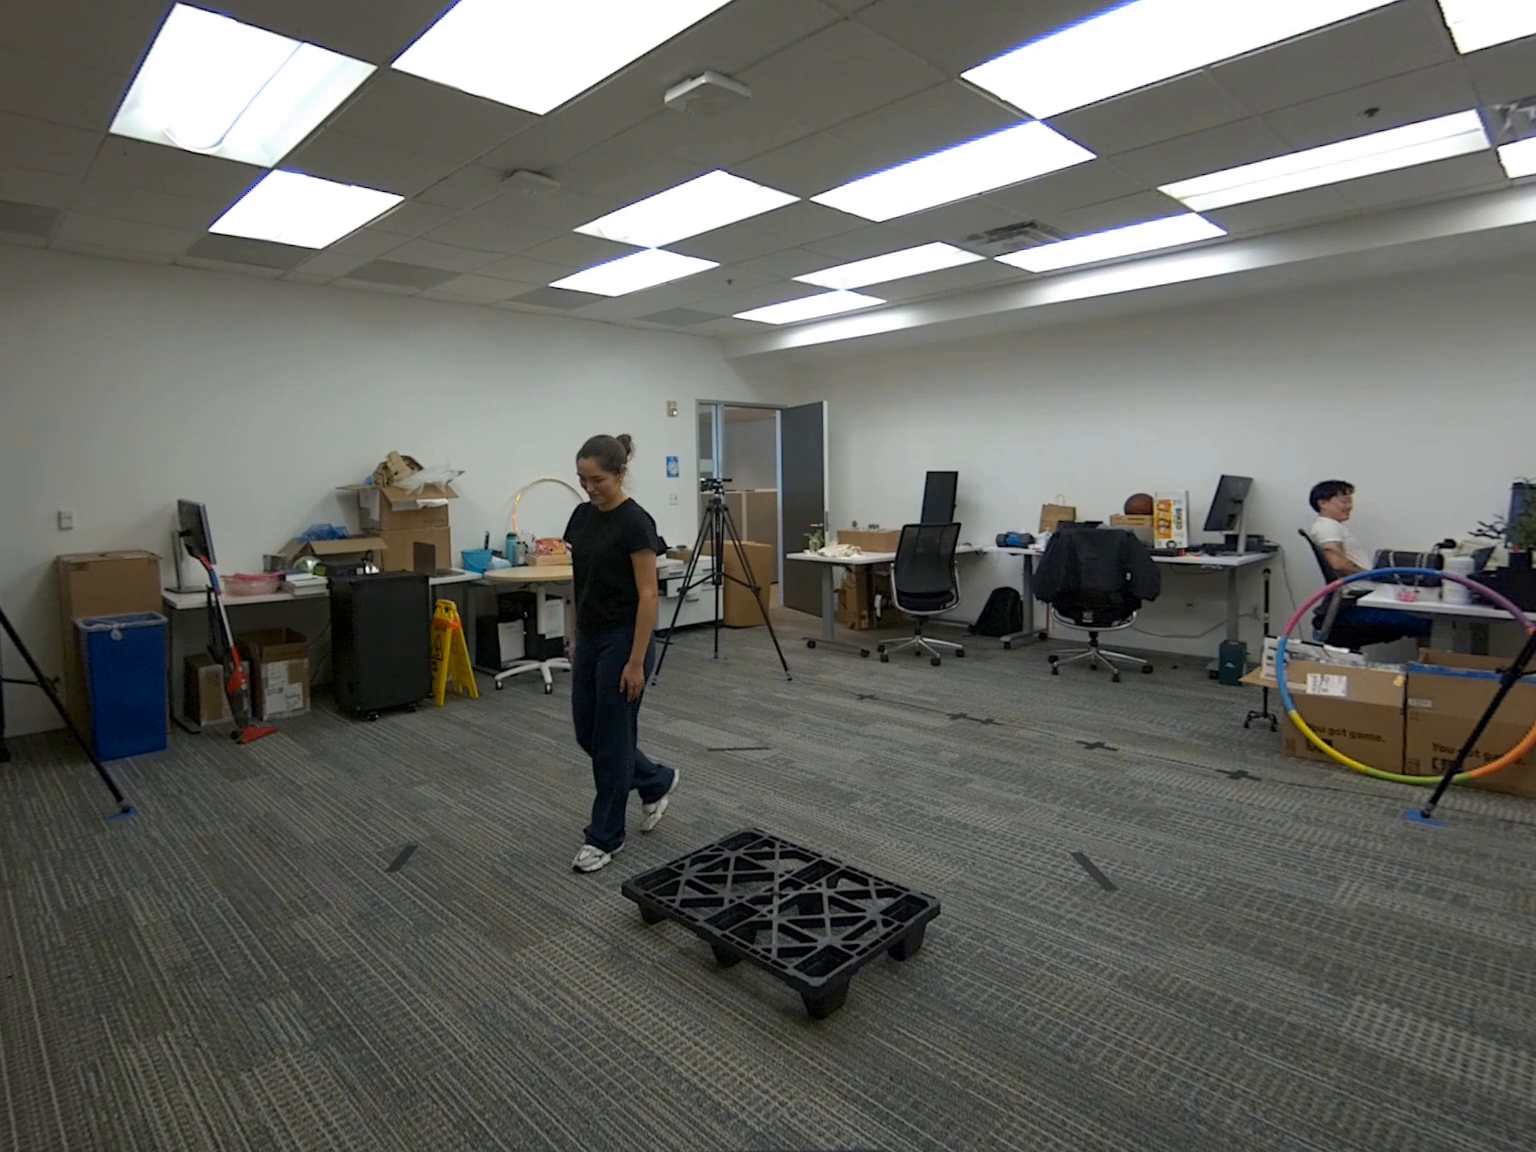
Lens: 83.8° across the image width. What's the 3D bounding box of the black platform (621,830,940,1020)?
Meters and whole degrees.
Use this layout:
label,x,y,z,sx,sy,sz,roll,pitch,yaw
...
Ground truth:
label,x,y,z,sx,sy,sz,roll,pitch,yaw
black platform,0.029,1.032,2.637,0.831,0.142,0.589,6,9,44
